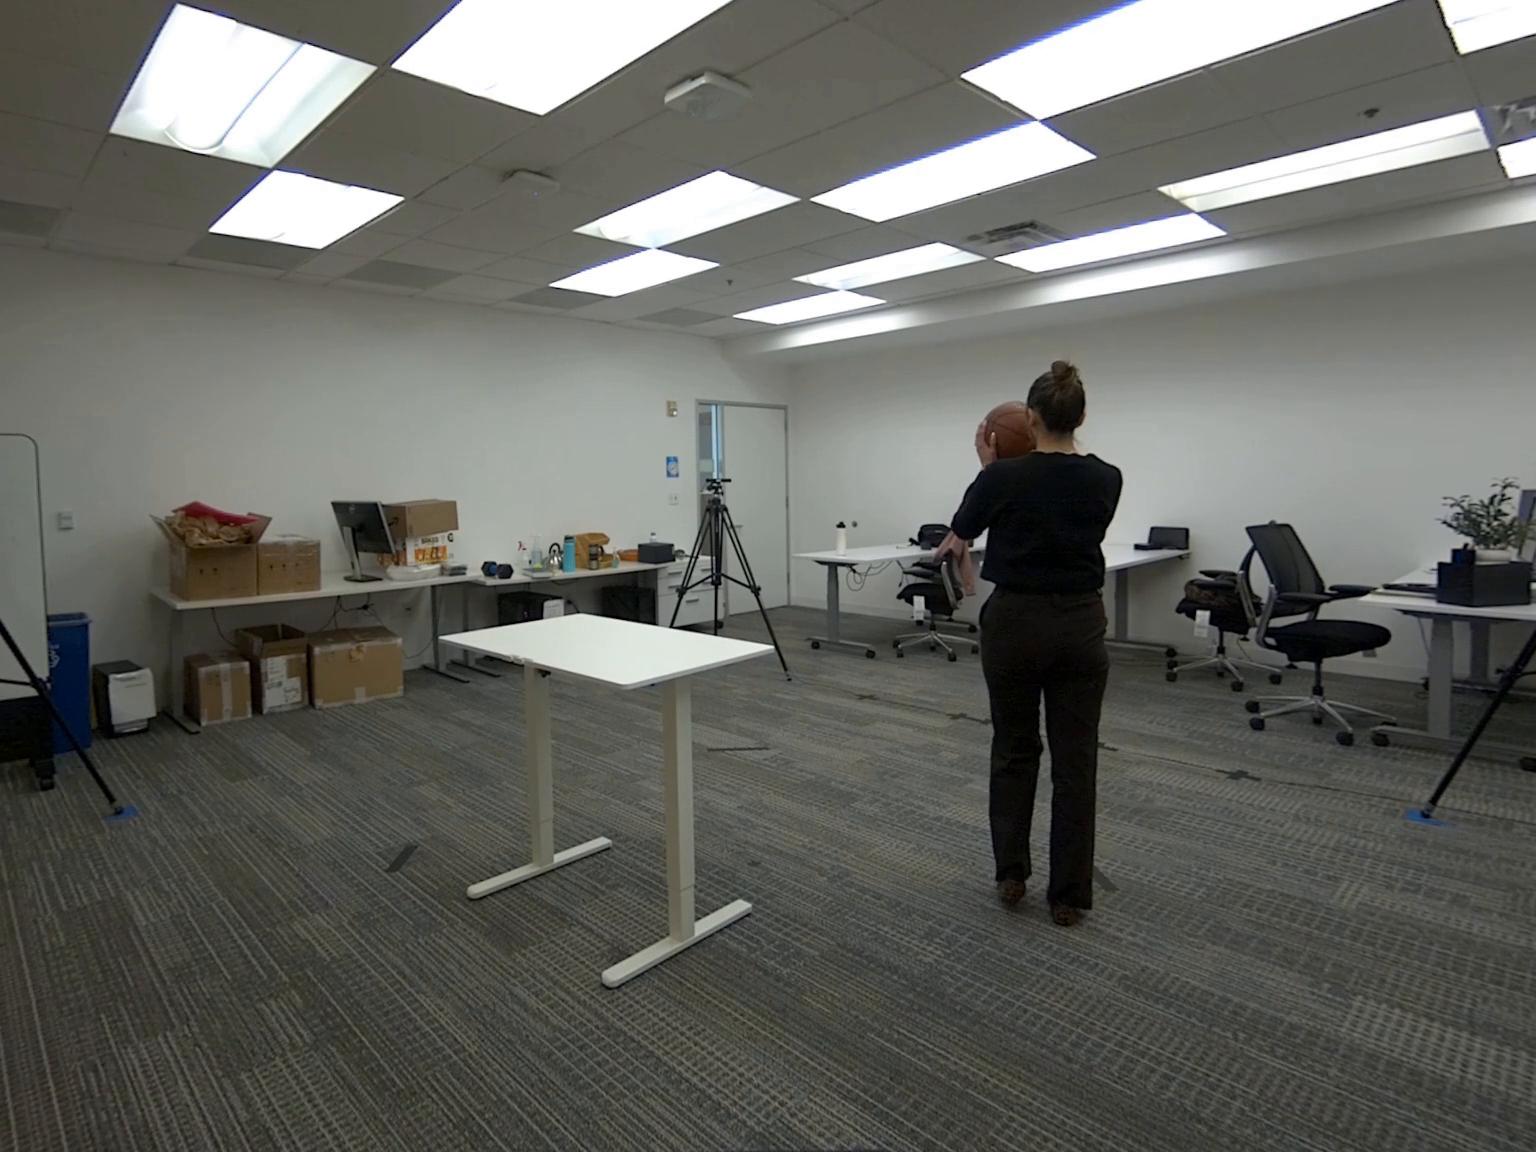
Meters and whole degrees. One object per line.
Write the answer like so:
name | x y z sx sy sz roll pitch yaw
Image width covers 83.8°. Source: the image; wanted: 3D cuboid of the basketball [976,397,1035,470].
basketball | 0.879 -0.498 2.994 0.236 0.235 0.237 -1 5 -2
